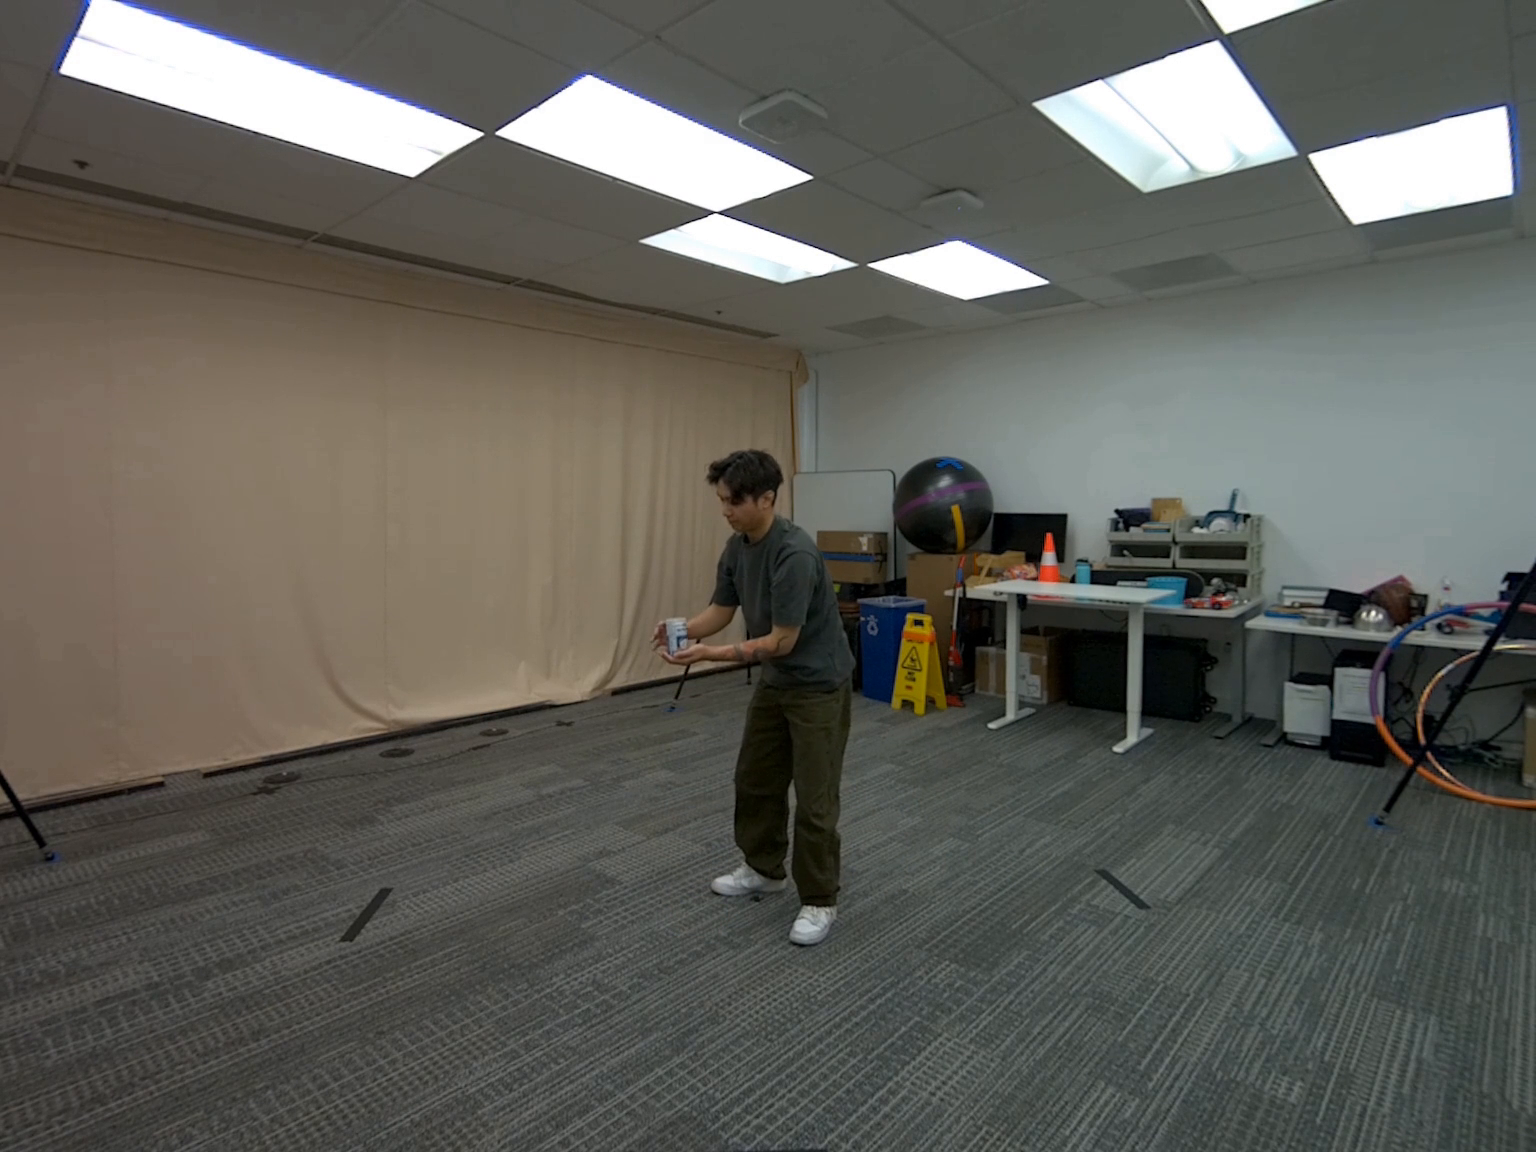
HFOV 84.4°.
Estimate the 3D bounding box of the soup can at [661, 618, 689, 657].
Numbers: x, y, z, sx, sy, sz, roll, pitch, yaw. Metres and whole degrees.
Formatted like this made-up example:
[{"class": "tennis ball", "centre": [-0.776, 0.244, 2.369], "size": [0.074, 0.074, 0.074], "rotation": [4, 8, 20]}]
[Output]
[{"class": "soup can", "centre": [-0.281, 0.212, 2.697], "size": [0.067, 0.122, 0.067], "rotation": [-2, -7, -2]}]
